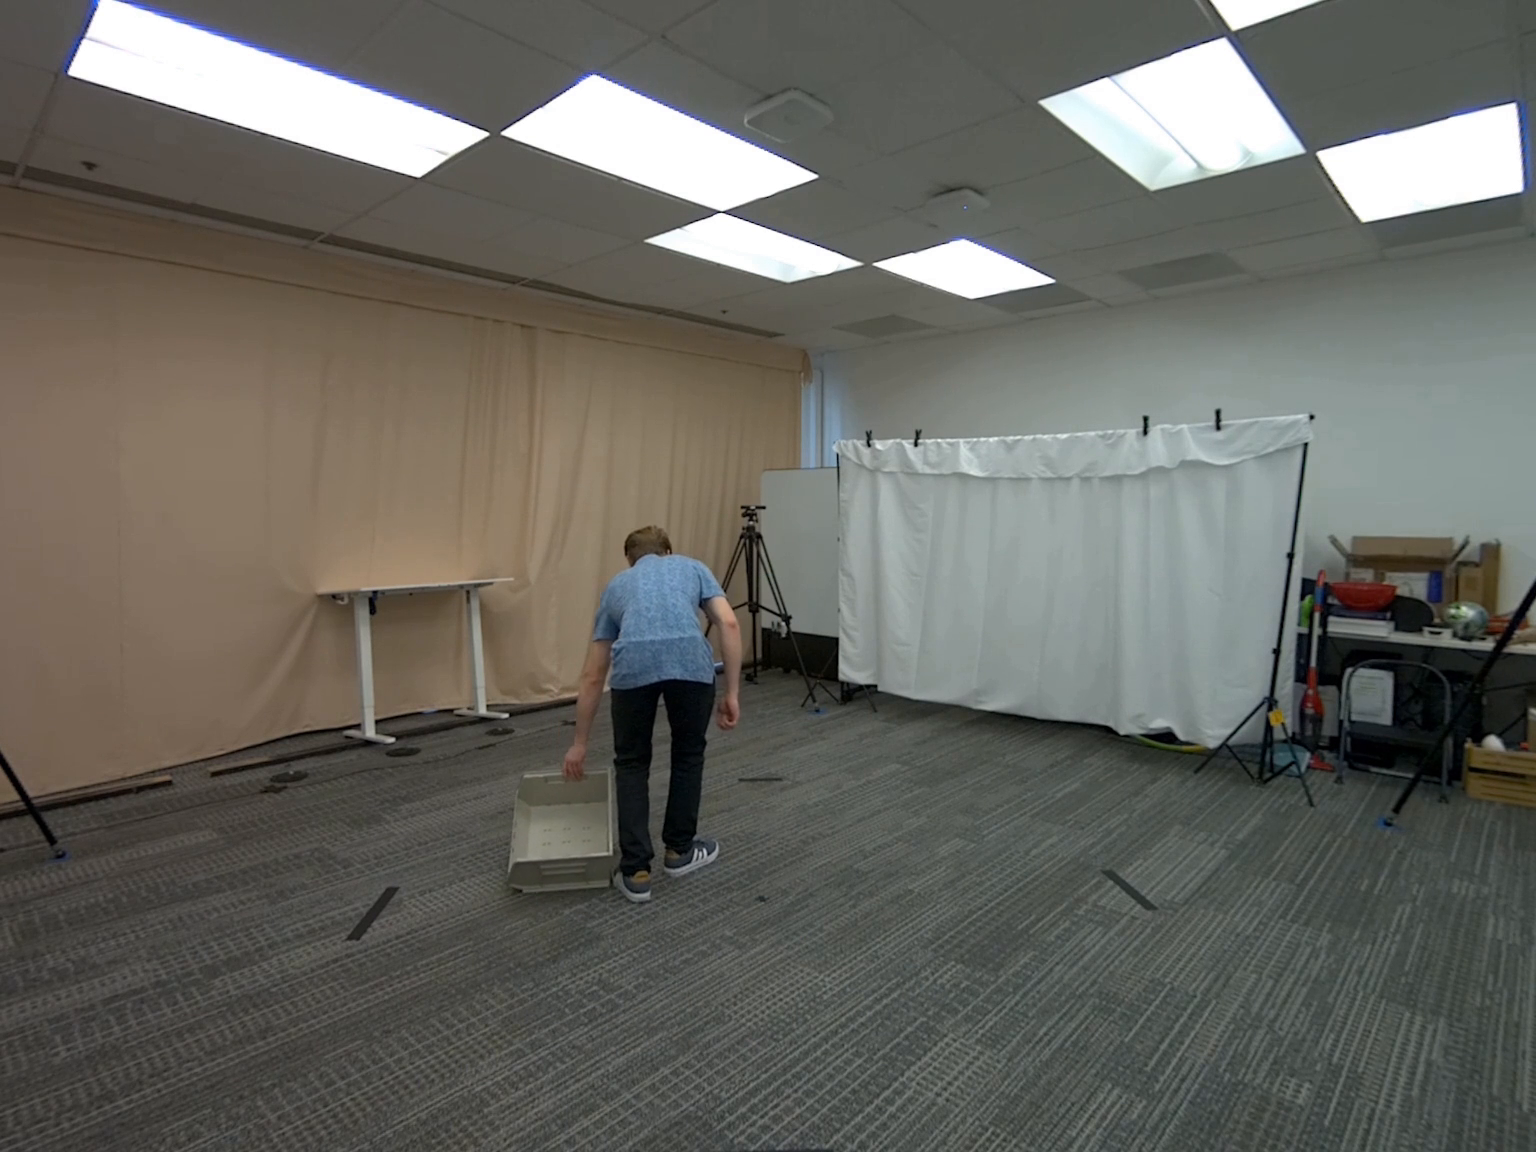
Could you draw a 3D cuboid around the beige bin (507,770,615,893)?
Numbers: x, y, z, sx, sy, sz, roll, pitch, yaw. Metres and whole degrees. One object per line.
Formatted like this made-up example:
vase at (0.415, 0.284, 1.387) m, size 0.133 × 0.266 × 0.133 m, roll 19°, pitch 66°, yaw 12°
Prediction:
beige bin at (-0.782, 0.960, 3.192) m, size 0.373 × 0.186 × 0.433 m, roll -2°, pitch 31°, yaw -11°
